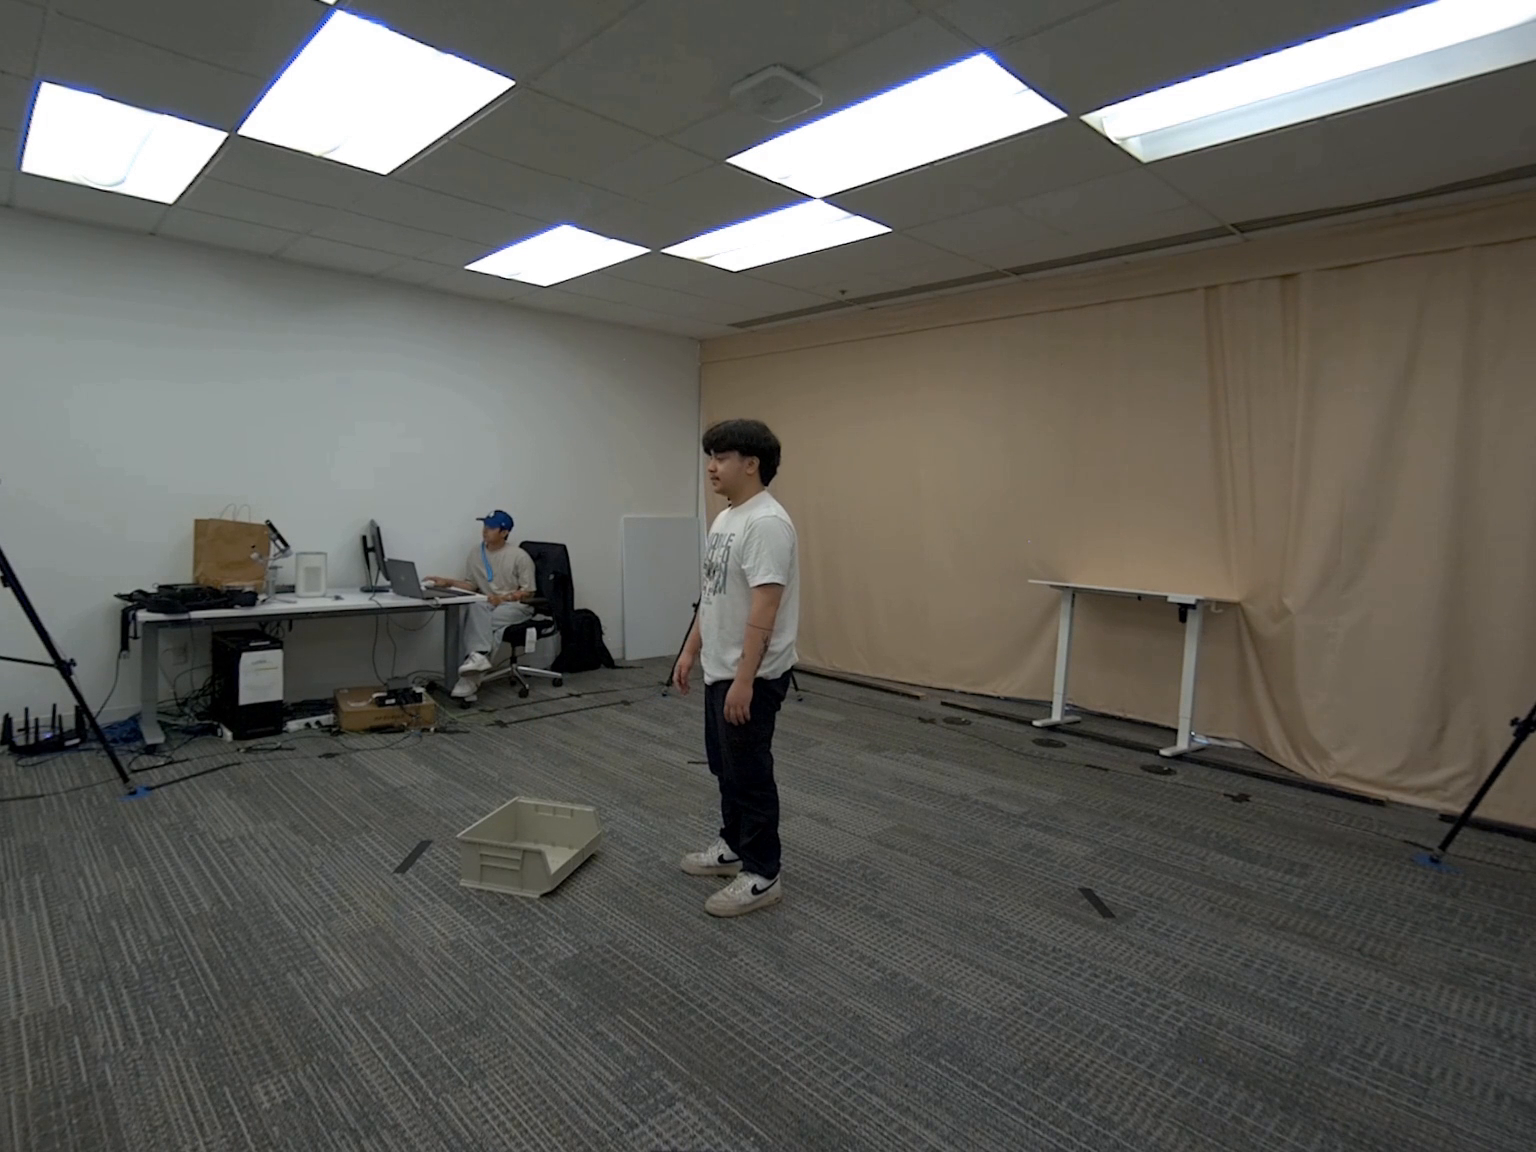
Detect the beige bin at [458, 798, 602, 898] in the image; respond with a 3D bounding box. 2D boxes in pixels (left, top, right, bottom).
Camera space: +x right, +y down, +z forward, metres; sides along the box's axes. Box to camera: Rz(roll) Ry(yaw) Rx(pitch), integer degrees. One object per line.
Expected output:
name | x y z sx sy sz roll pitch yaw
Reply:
beige bin | -0.881 1.000 3.127 0.382 0.188 0.419 2 6 14
